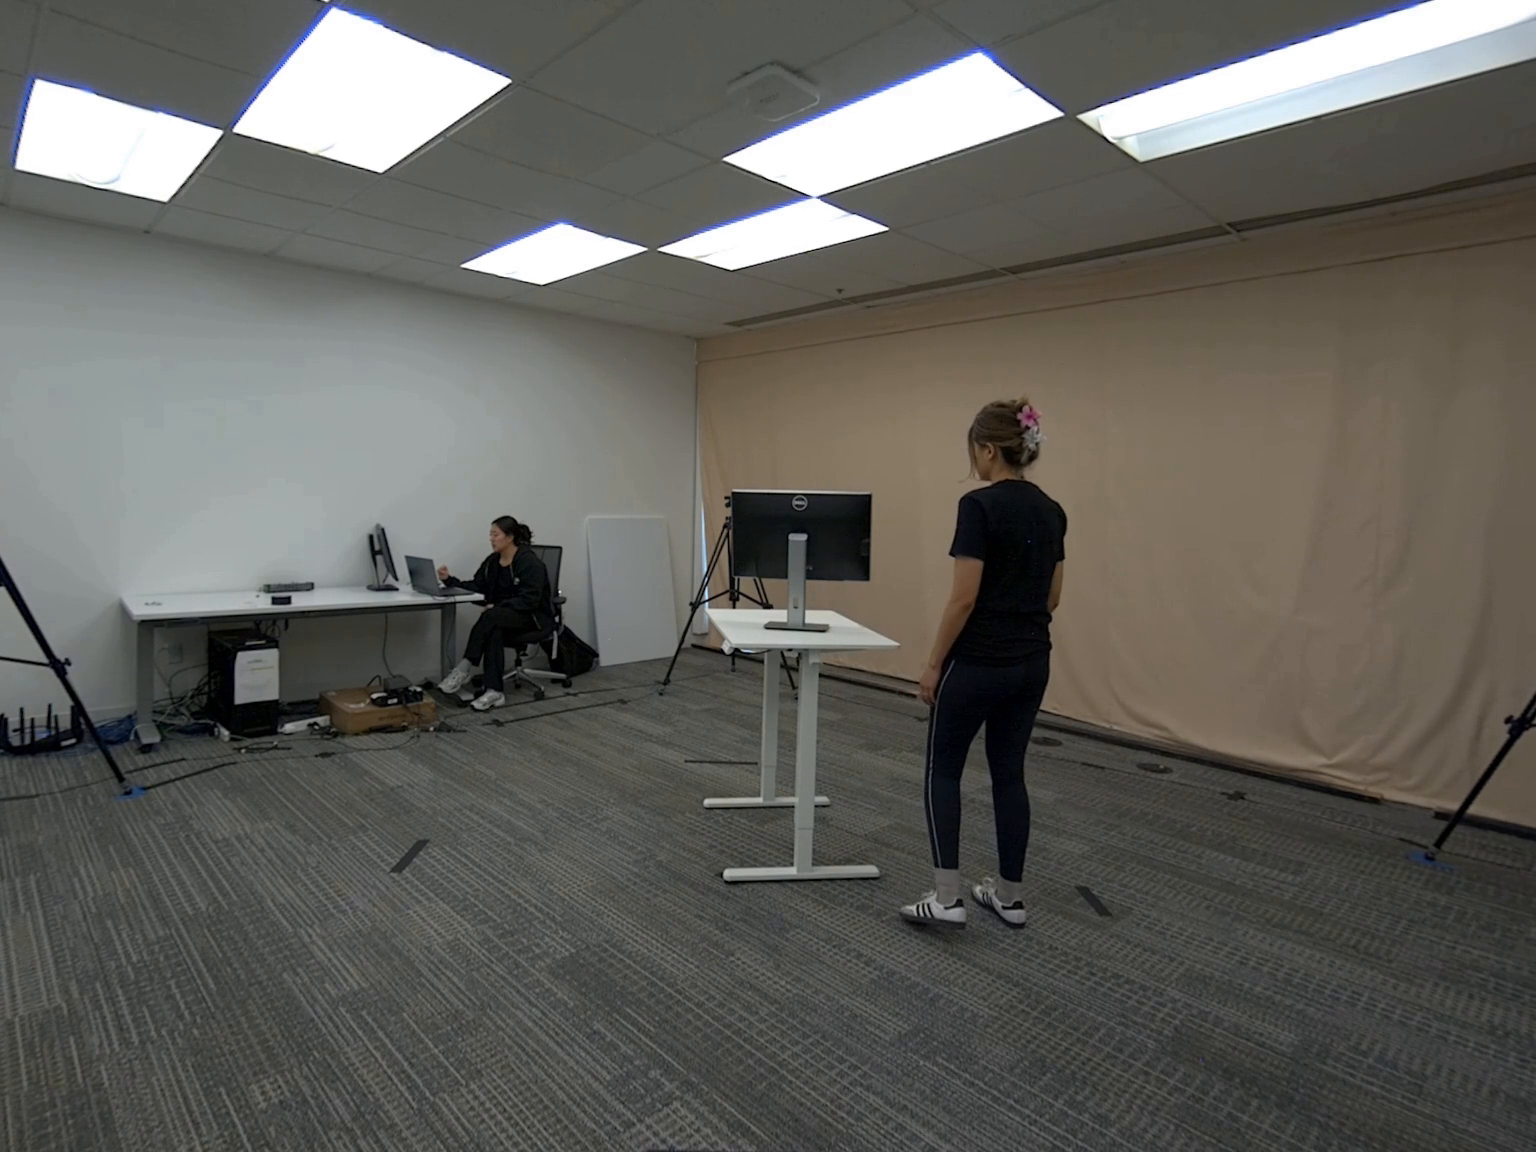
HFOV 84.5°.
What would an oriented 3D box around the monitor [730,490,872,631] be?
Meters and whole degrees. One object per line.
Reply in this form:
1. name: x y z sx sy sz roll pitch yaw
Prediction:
1. monitor: 0.107 -0.055 3.322 0.542 0.521 0.186 2 3 6
